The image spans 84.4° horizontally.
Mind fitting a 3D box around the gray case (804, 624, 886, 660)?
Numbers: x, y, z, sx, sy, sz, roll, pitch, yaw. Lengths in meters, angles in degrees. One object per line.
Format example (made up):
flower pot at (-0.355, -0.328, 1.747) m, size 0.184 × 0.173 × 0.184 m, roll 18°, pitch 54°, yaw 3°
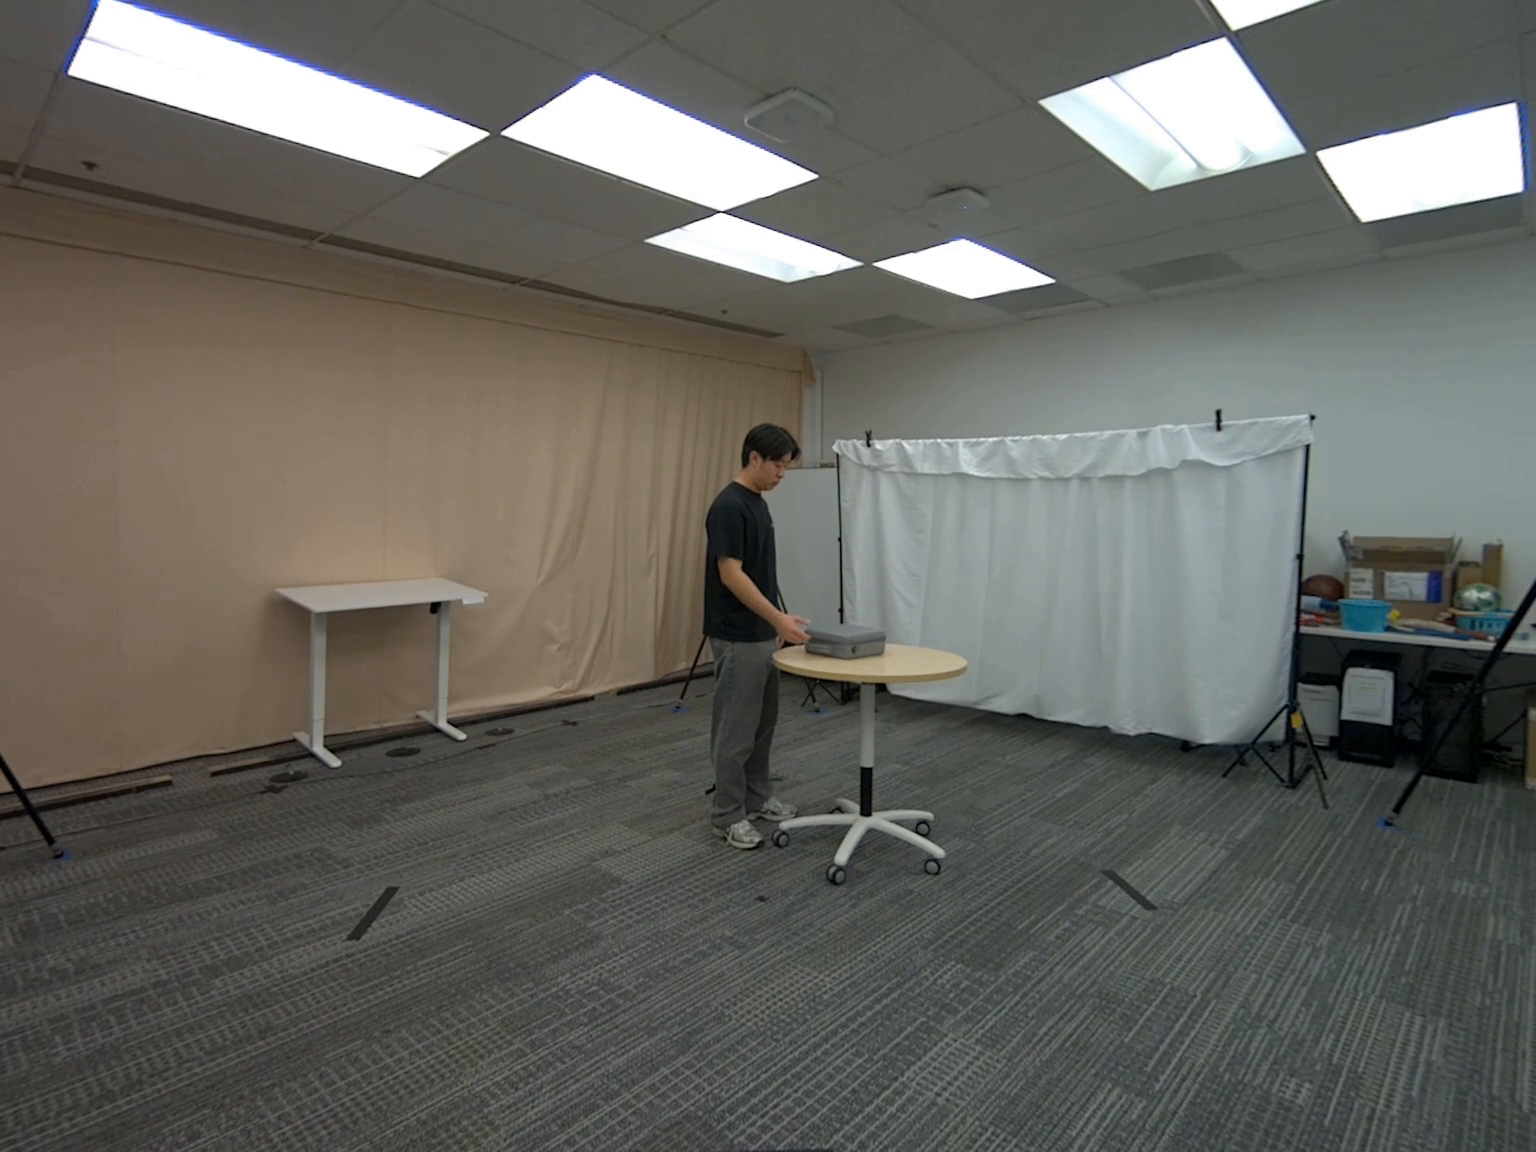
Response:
gray case at (0.316, 0.270, 3.455) m, size 0.279 × 0.103 × 0.272 m, roll -4°, pitch 6°, yaw -38°
